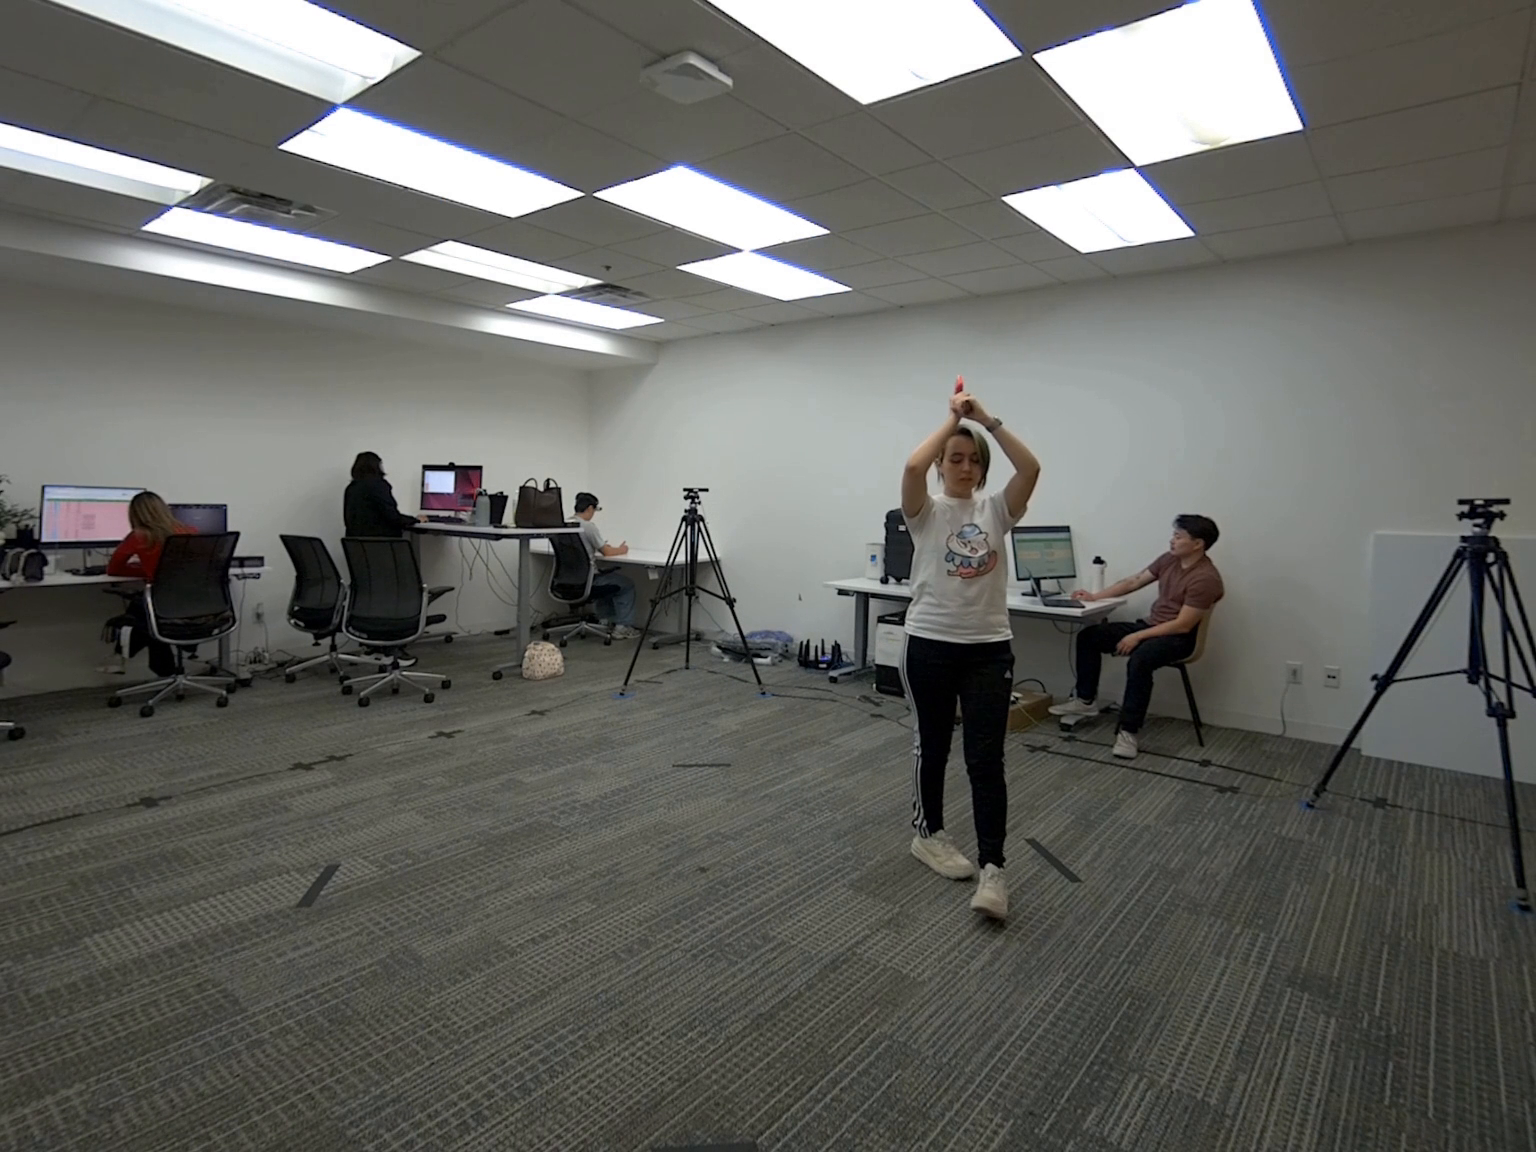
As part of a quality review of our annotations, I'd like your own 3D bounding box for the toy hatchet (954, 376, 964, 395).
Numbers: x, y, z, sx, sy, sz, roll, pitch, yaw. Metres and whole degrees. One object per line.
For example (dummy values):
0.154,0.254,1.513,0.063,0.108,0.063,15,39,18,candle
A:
0.671,-0.633,2.905,0.030,0.130,0.271,2,9,2,toy hatchet
